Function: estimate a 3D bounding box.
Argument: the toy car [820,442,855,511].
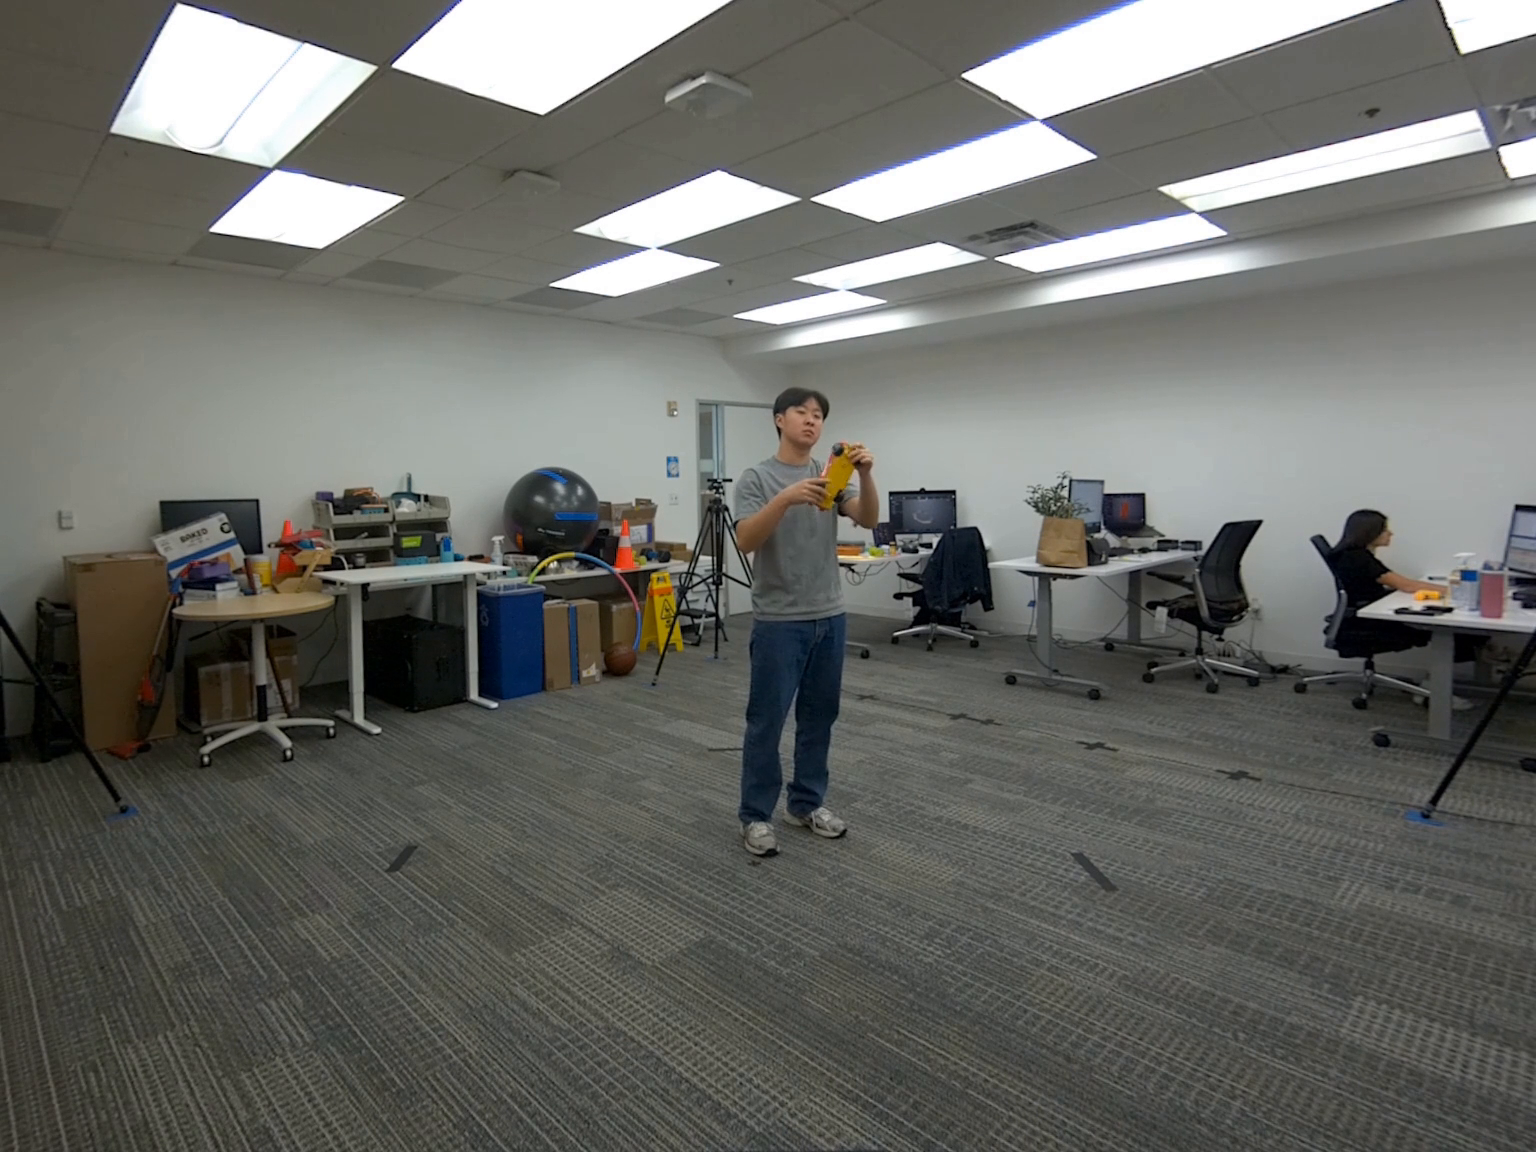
[{"bbox_3d":[0.231,-0.345,3.033,0.127,0.253,0.086,23,18,-23],"label":"toy car"}]
